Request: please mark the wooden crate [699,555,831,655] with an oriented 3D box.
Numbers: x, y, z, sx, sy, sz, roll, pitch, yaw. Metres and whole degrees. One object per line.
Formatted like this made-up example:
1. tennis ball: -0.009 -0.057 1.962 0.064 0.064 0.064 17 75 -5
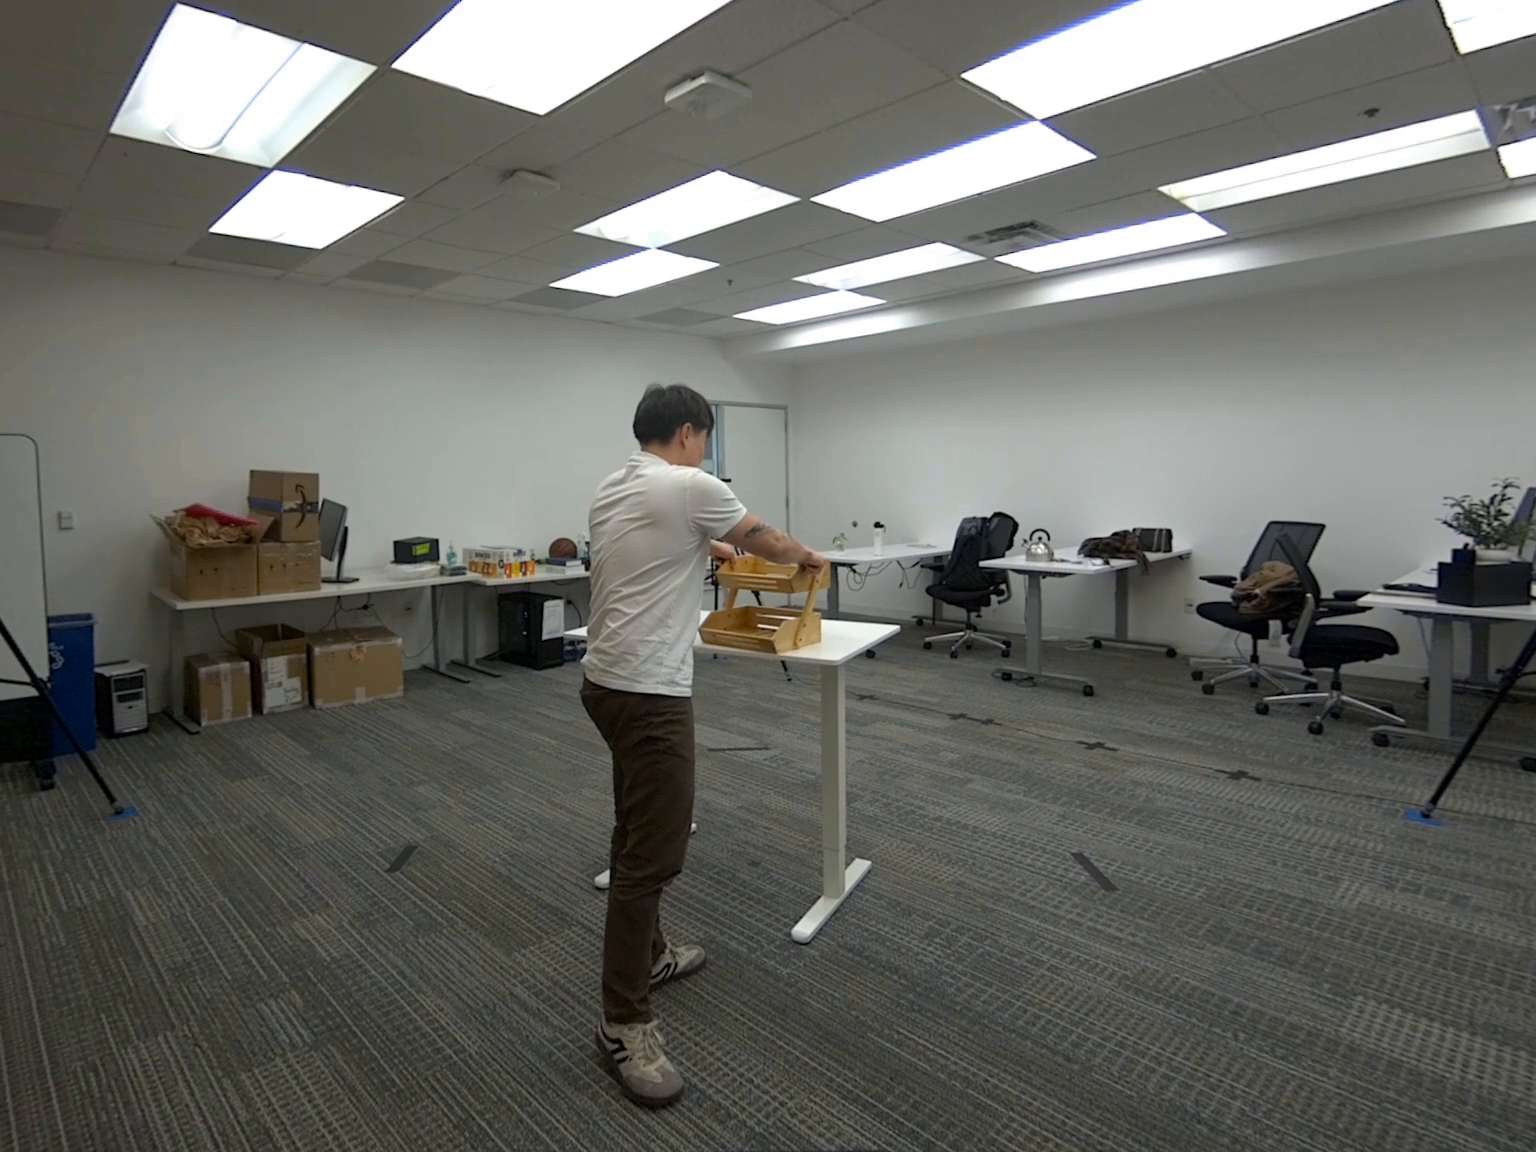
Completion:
1. wooden crate: -0.011 0.078 2.709 0.334 0.272 0.294 4 7 39
